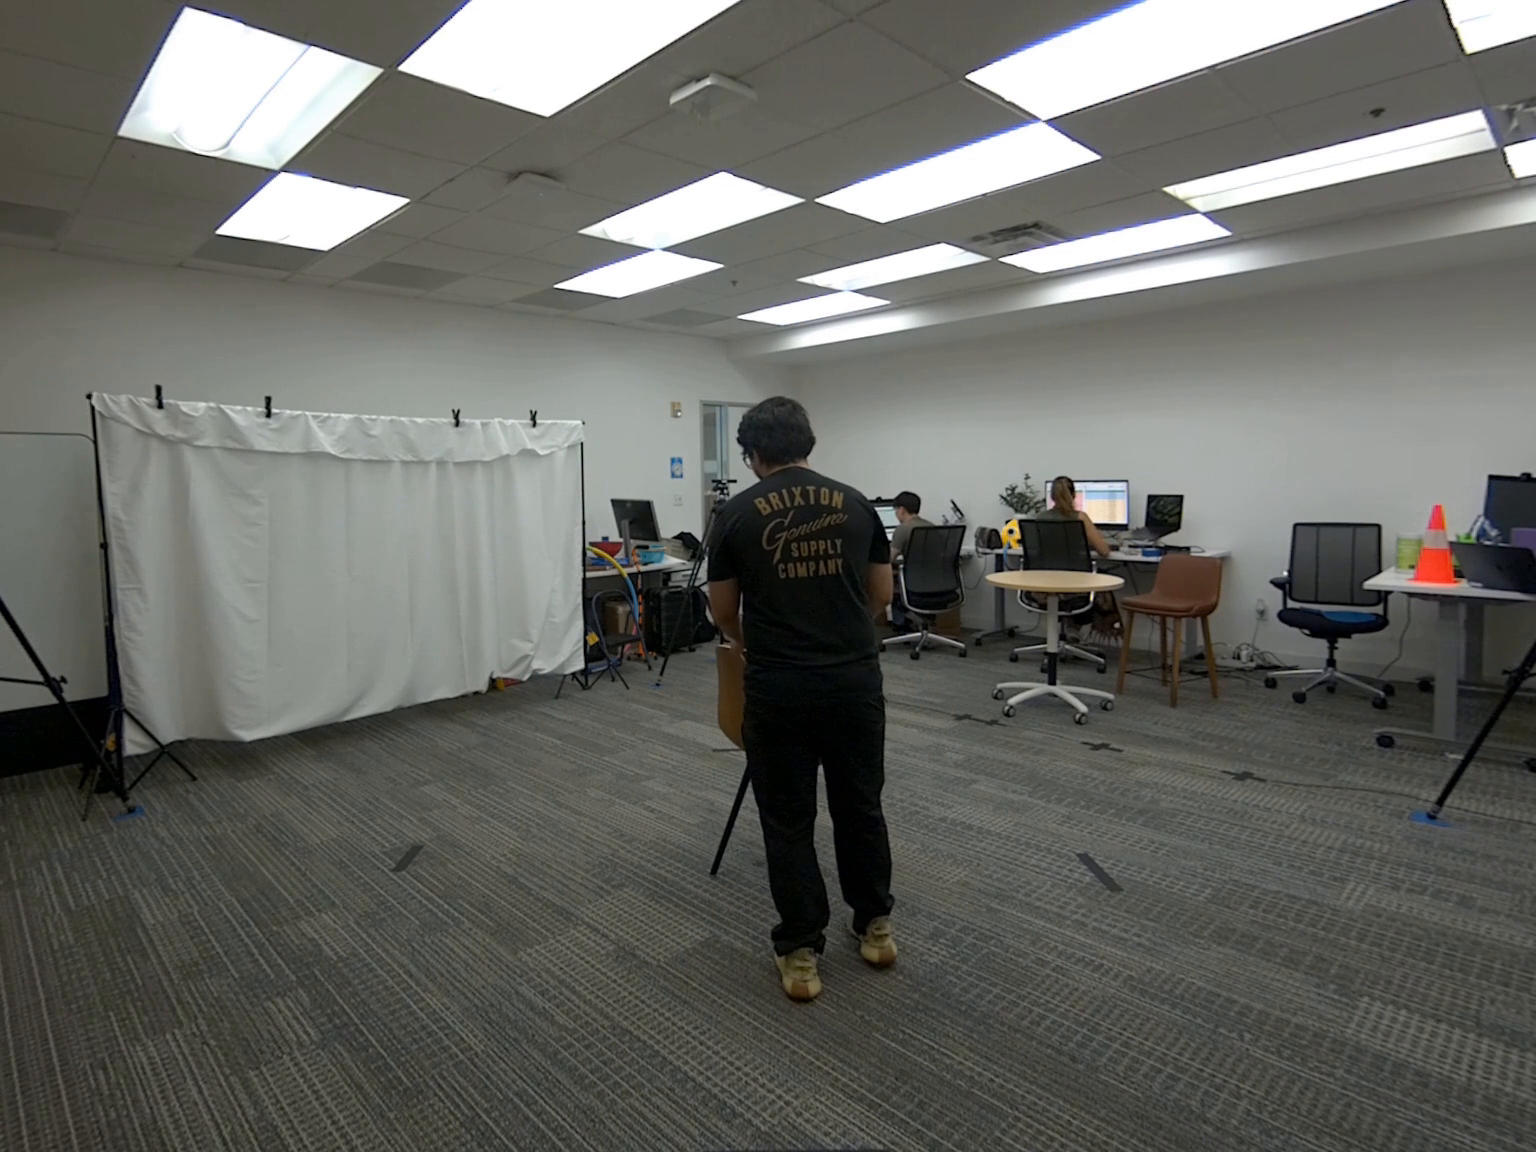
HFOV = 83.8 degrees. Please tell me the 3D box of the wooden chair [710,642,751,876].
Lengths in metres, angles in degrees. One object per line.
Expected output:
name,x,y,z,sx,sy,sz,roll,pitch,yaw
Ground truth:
wooden chair,0.113,0.630,3.010,0.492,0.872,0.511,2,9,43
